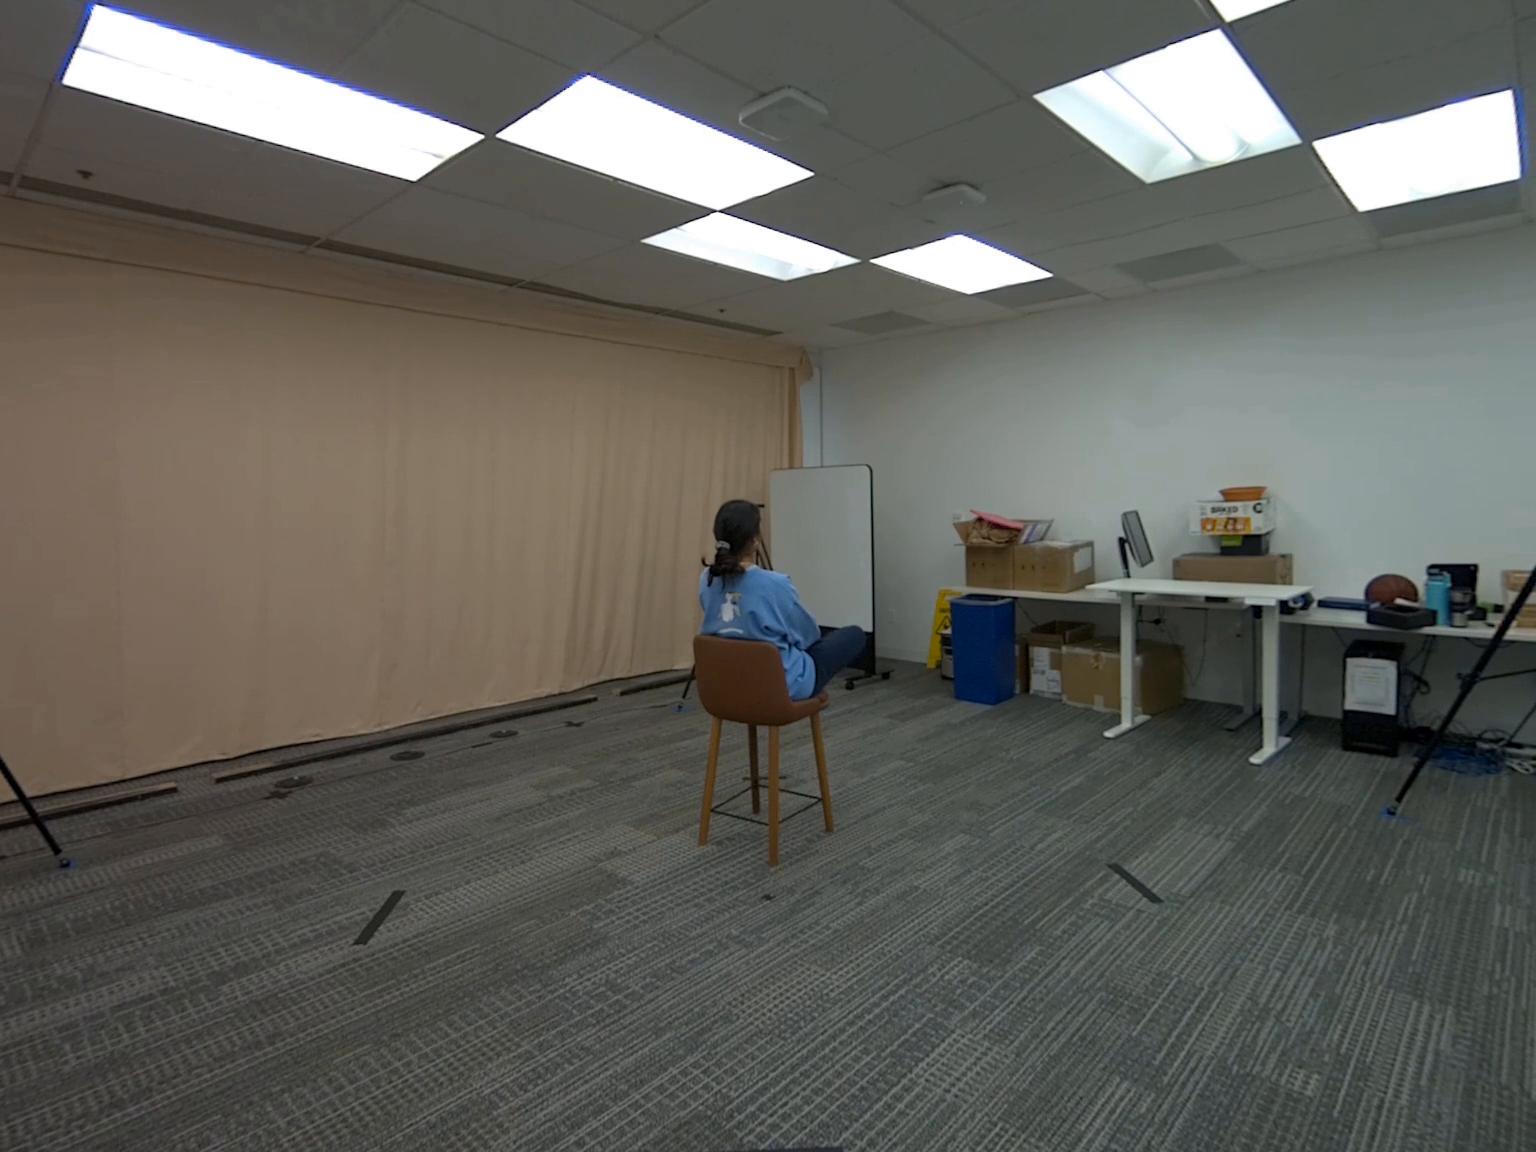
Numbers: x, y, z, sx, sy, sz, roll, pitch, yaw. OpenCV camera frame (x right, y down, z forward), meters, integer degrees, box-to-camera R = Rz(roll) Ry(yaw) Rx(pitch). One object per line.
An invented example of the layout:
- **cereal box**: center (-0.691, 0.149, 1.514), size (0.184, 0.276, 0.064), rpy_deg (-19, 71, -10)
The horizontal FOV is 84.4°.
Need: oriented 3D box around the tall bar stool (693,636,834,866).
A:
- **tall bar stool**: center (-0.021, 0.661, 3.496), size (0.471, 0.887, 0.455), rpy_deg (1, 6, 35)
